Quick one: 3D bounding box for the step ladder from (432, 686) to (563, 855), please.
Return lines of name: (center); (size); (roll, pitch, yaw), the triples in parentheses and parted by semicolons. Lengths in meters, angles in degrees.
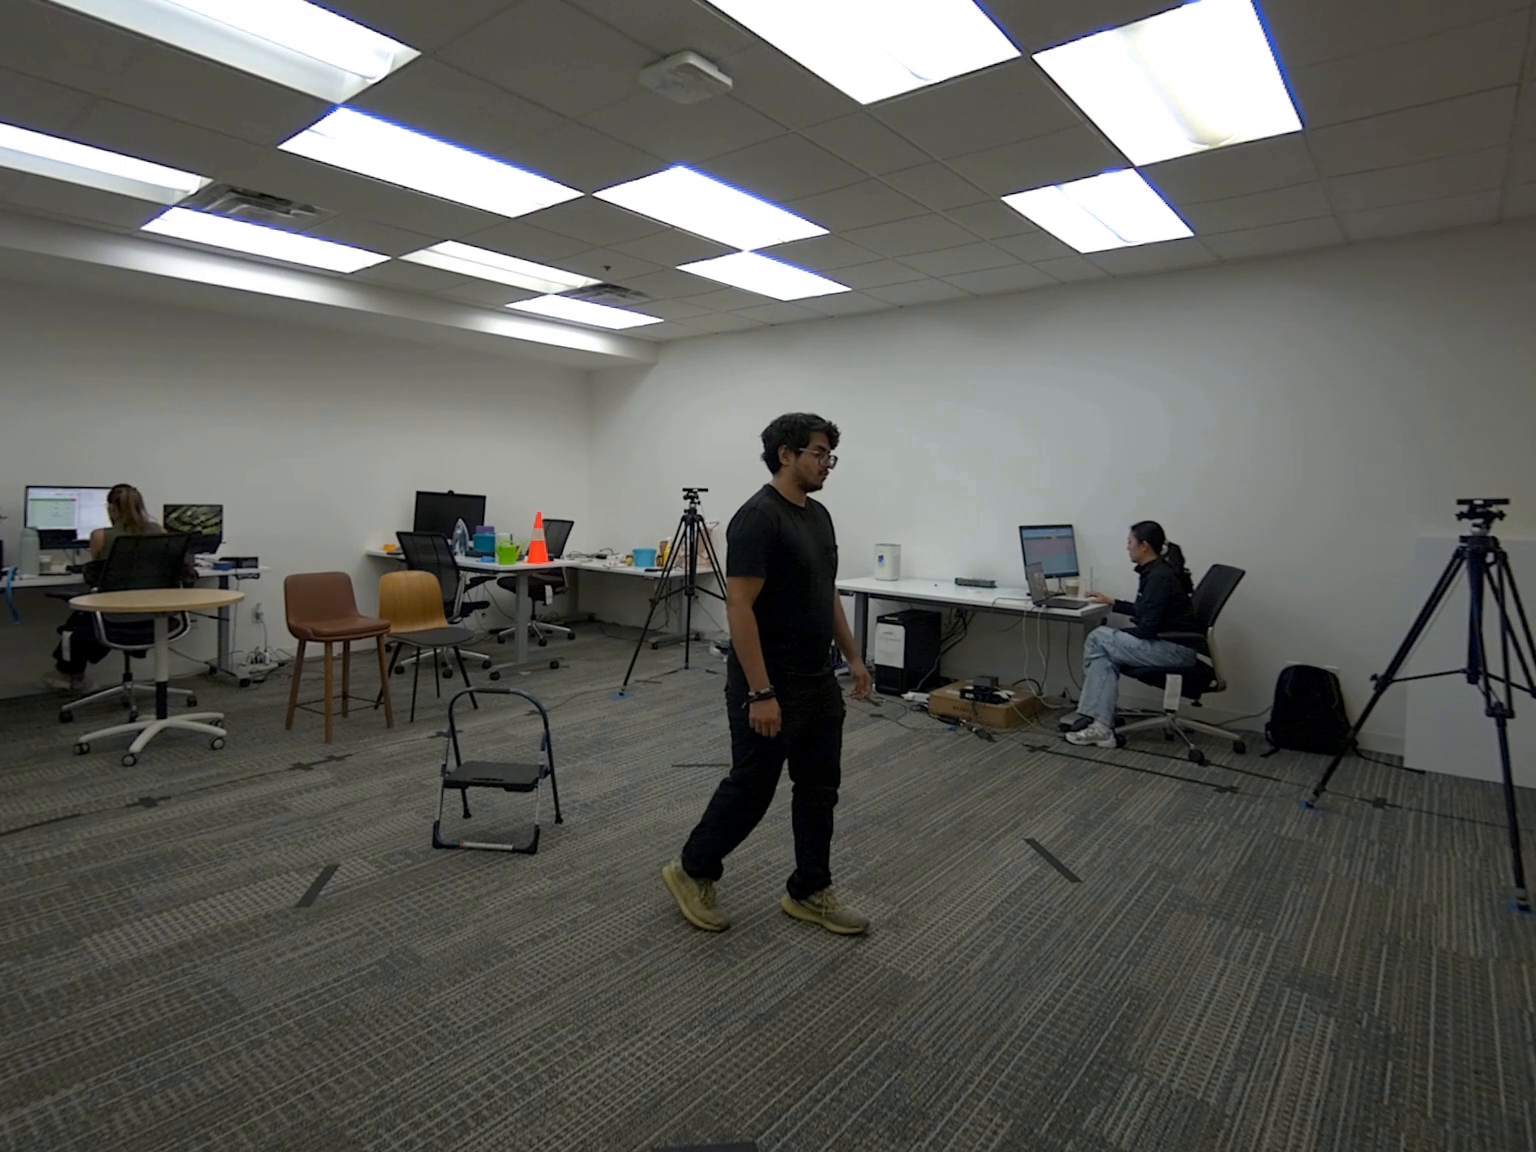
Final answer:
step ladder: (-1.083, 0.727, 3.382); (0.433, 0.604, 0.348); (1, 3, 4)
